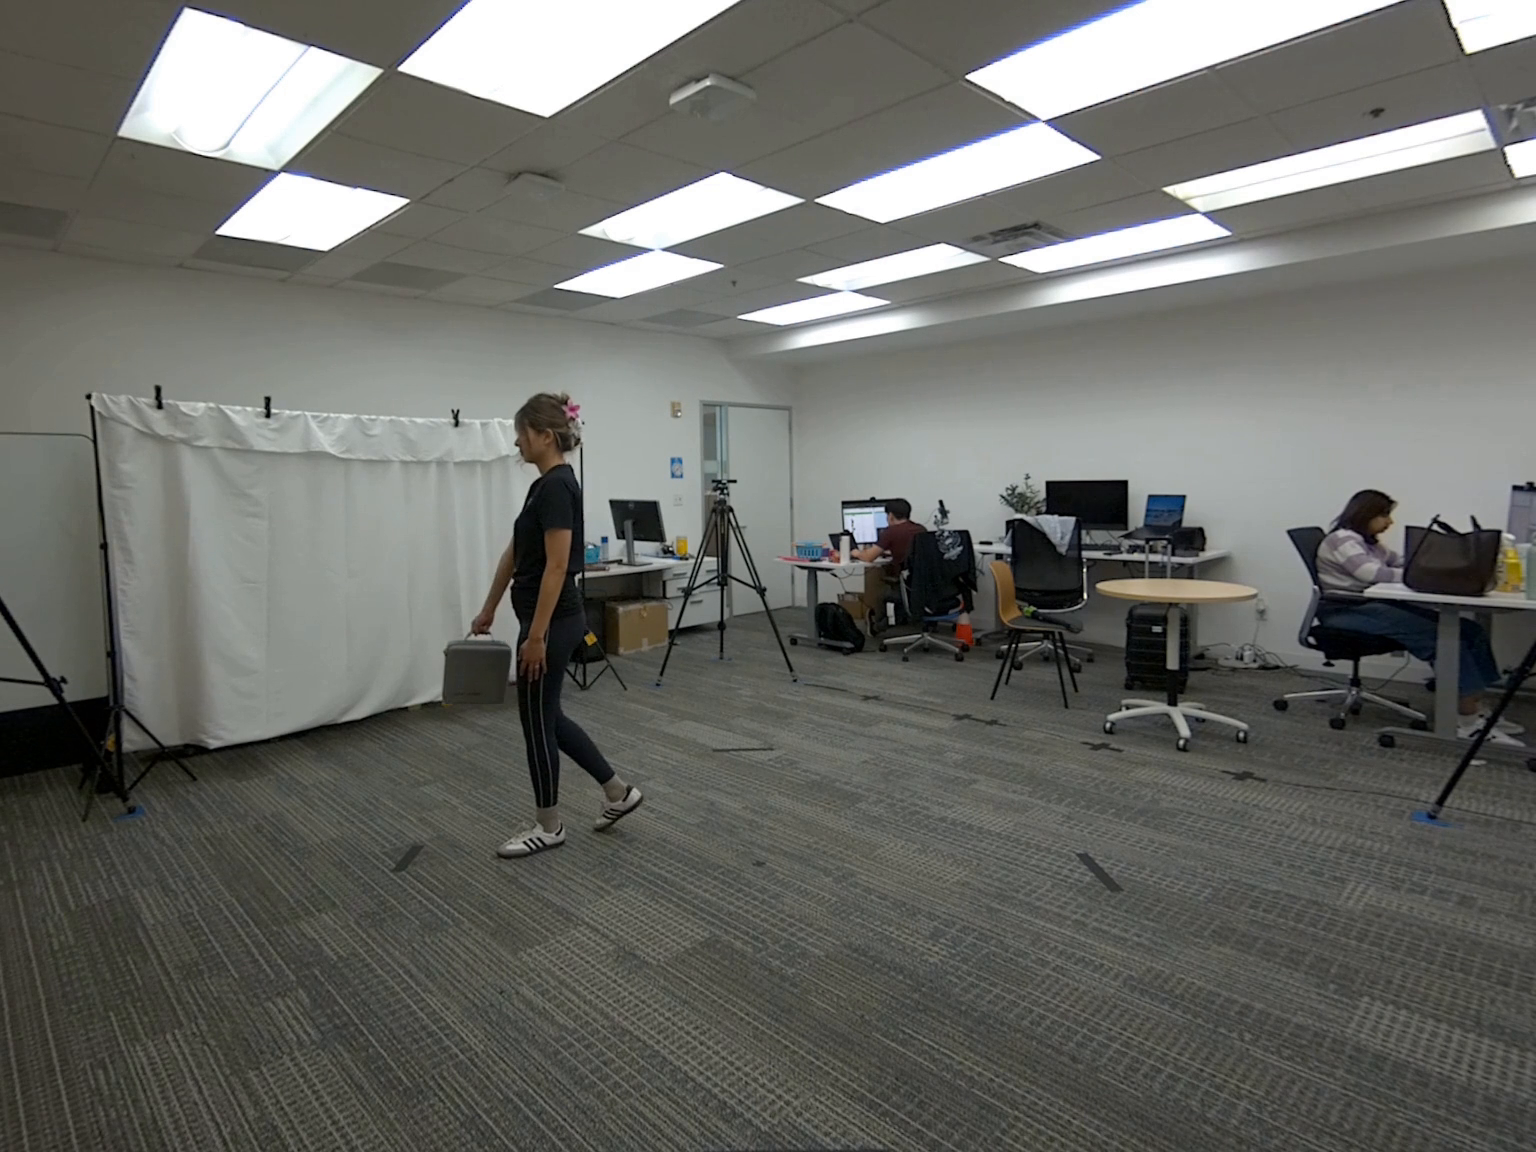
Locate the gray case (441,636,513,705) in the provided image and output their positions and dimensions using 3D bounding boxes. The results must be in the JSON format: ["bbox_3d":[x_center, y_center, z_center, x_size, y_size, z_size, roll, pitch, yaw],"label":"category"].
[{"bbox_3d":[-1.175,0.385,3.469,0.253,0.258,0.106,2,10,-14],"label":"gray case"}]
